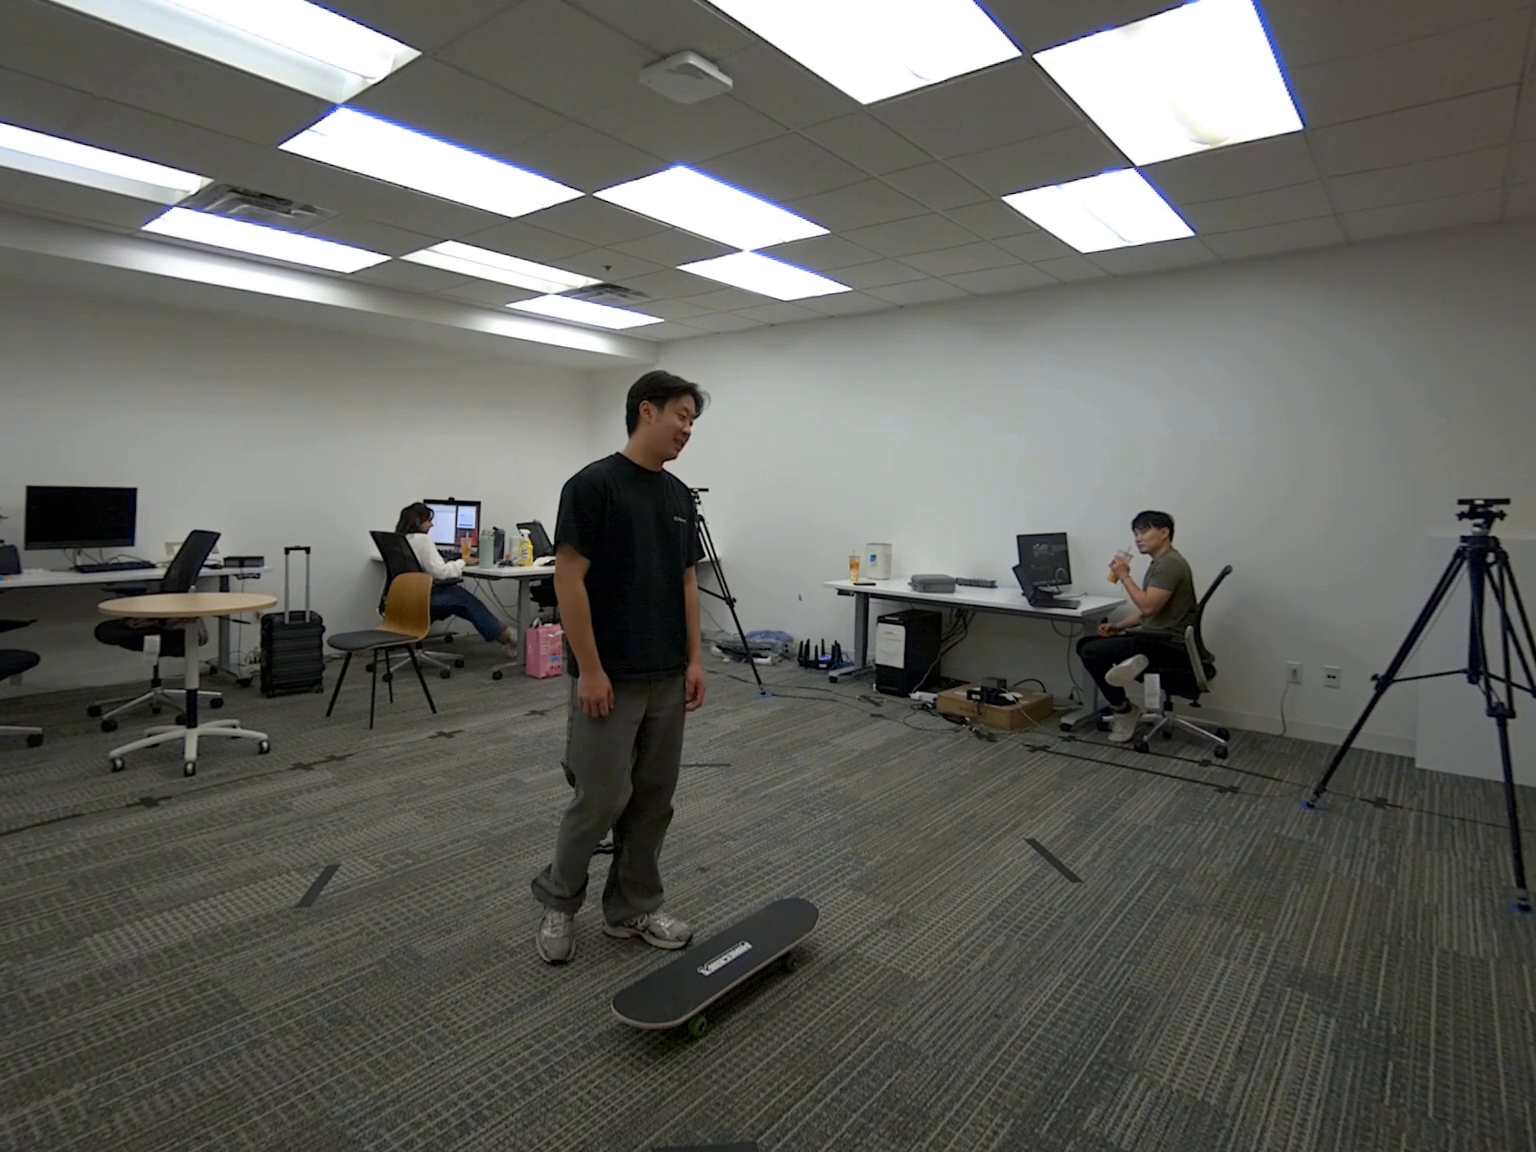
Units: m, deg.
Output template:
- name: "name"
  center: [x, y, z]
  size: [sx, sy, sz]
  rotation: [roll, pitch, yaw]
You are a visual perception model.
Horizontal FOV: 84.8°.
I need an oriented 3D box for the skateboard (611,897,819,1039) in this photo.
- name: "skateboard"
  center: [-0.125, 1.093, 2.358]
  size: [0.200, 0.110, 0.762]
  rotation: [6, 8, 39]
